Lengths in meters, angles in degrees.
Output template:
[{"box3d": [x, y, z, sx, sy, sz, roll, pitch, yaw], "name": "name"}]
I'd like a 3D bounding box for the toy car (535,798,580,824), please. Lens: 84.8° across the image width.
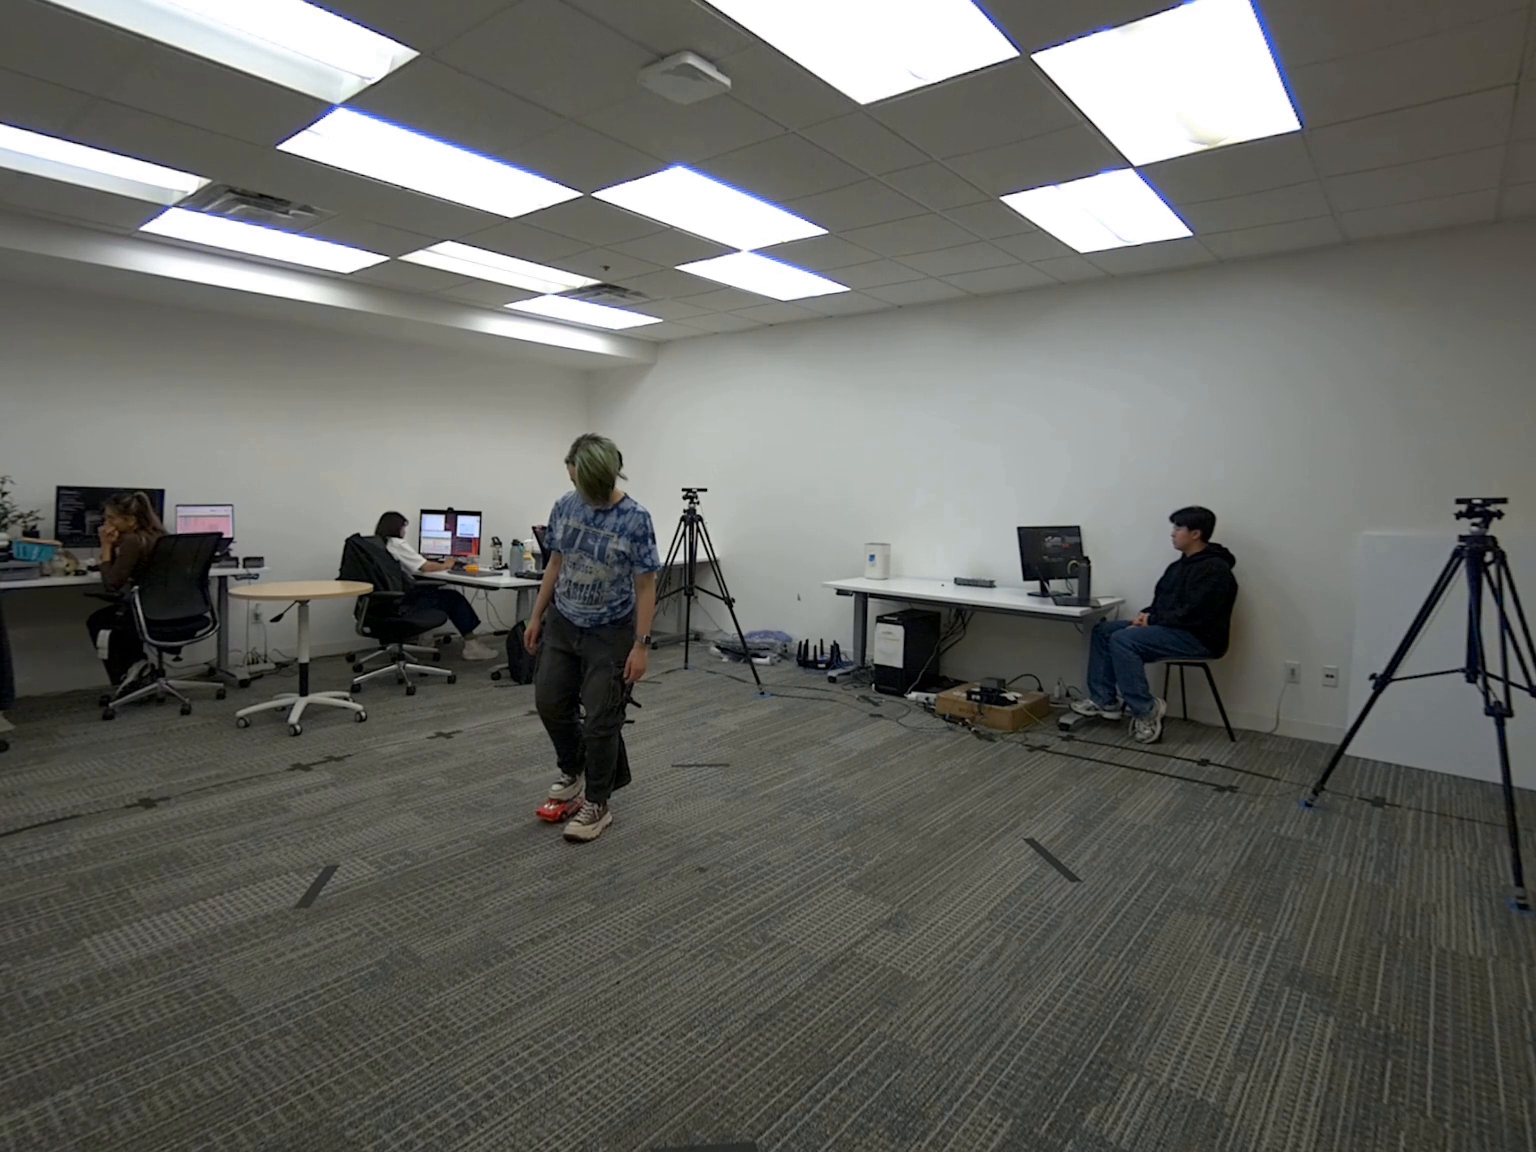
[{"box3d": [-0.892, 0.982, 3.590, 0.134, 0.084, 0.246, 3, -6, 27], "name": "toy car"}]
